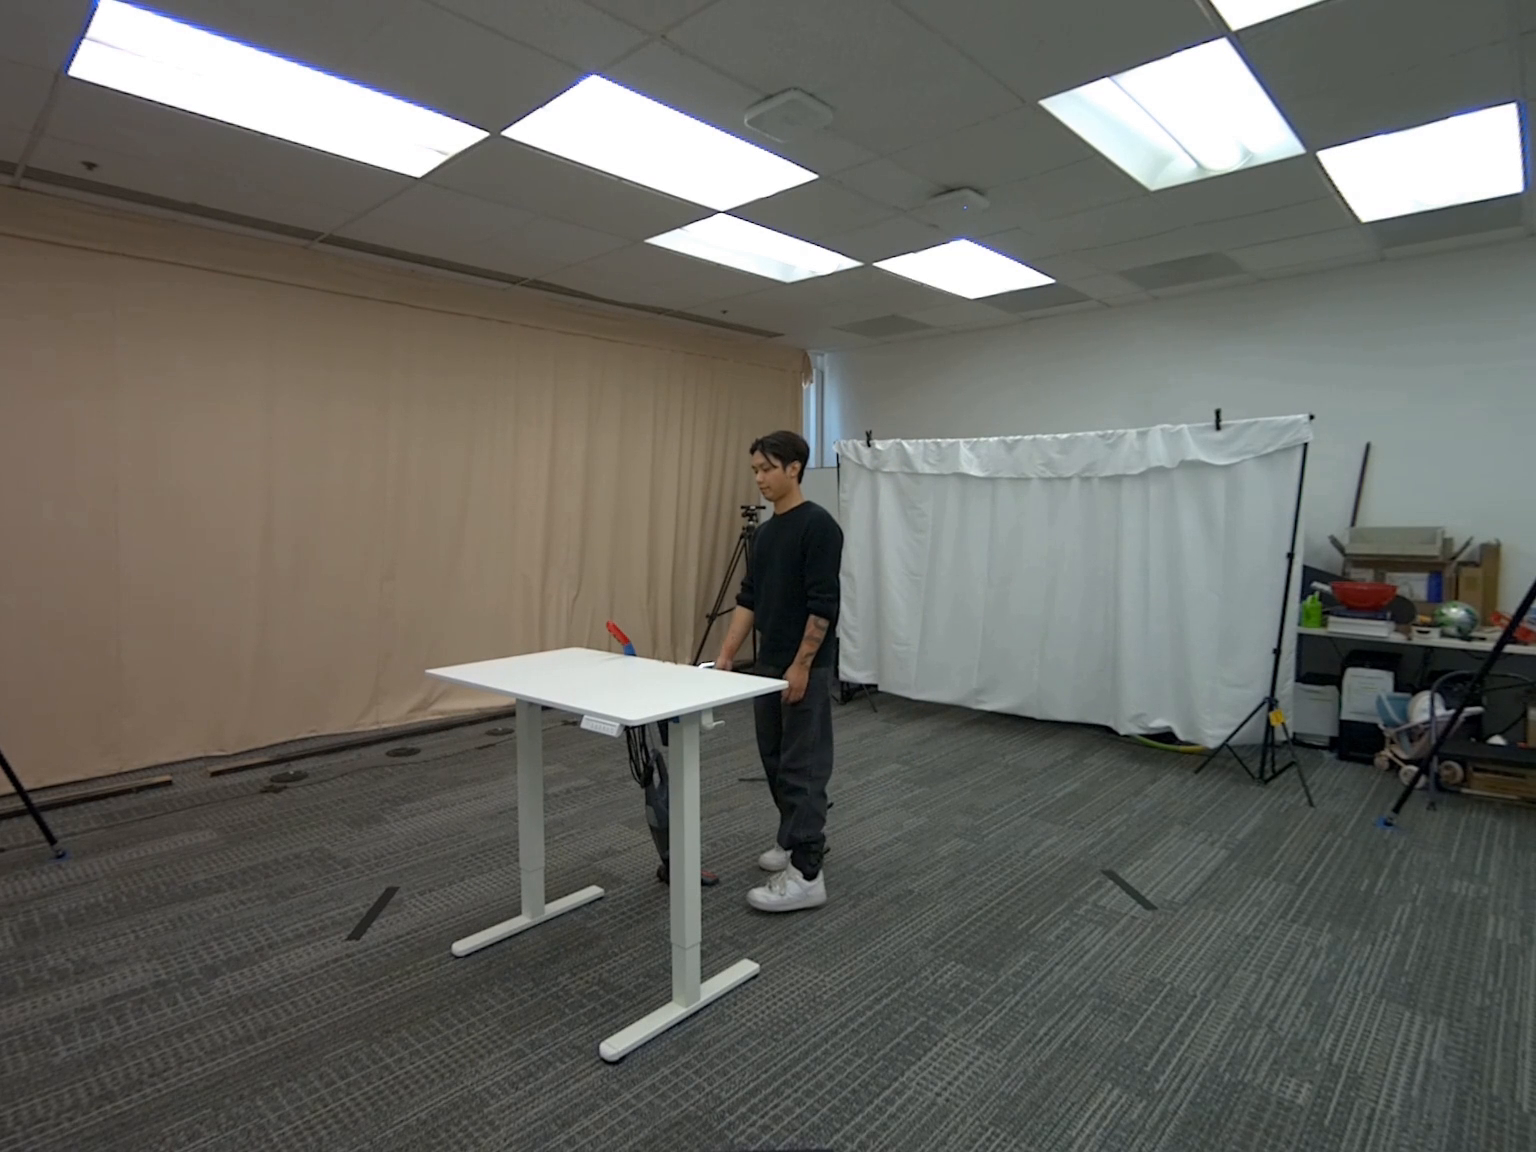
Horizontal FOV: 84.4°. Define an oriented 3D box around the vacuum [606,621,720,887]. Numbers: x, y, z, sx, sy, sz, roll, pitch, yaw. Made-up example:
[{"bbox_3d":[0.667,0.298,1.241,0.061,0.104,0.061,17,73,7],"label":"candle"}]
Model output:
[{"bbox_3d":[-0.430,0.654,3.001,0.261,1.035,0.141,2,22,43],"label":"vacuum"}]
